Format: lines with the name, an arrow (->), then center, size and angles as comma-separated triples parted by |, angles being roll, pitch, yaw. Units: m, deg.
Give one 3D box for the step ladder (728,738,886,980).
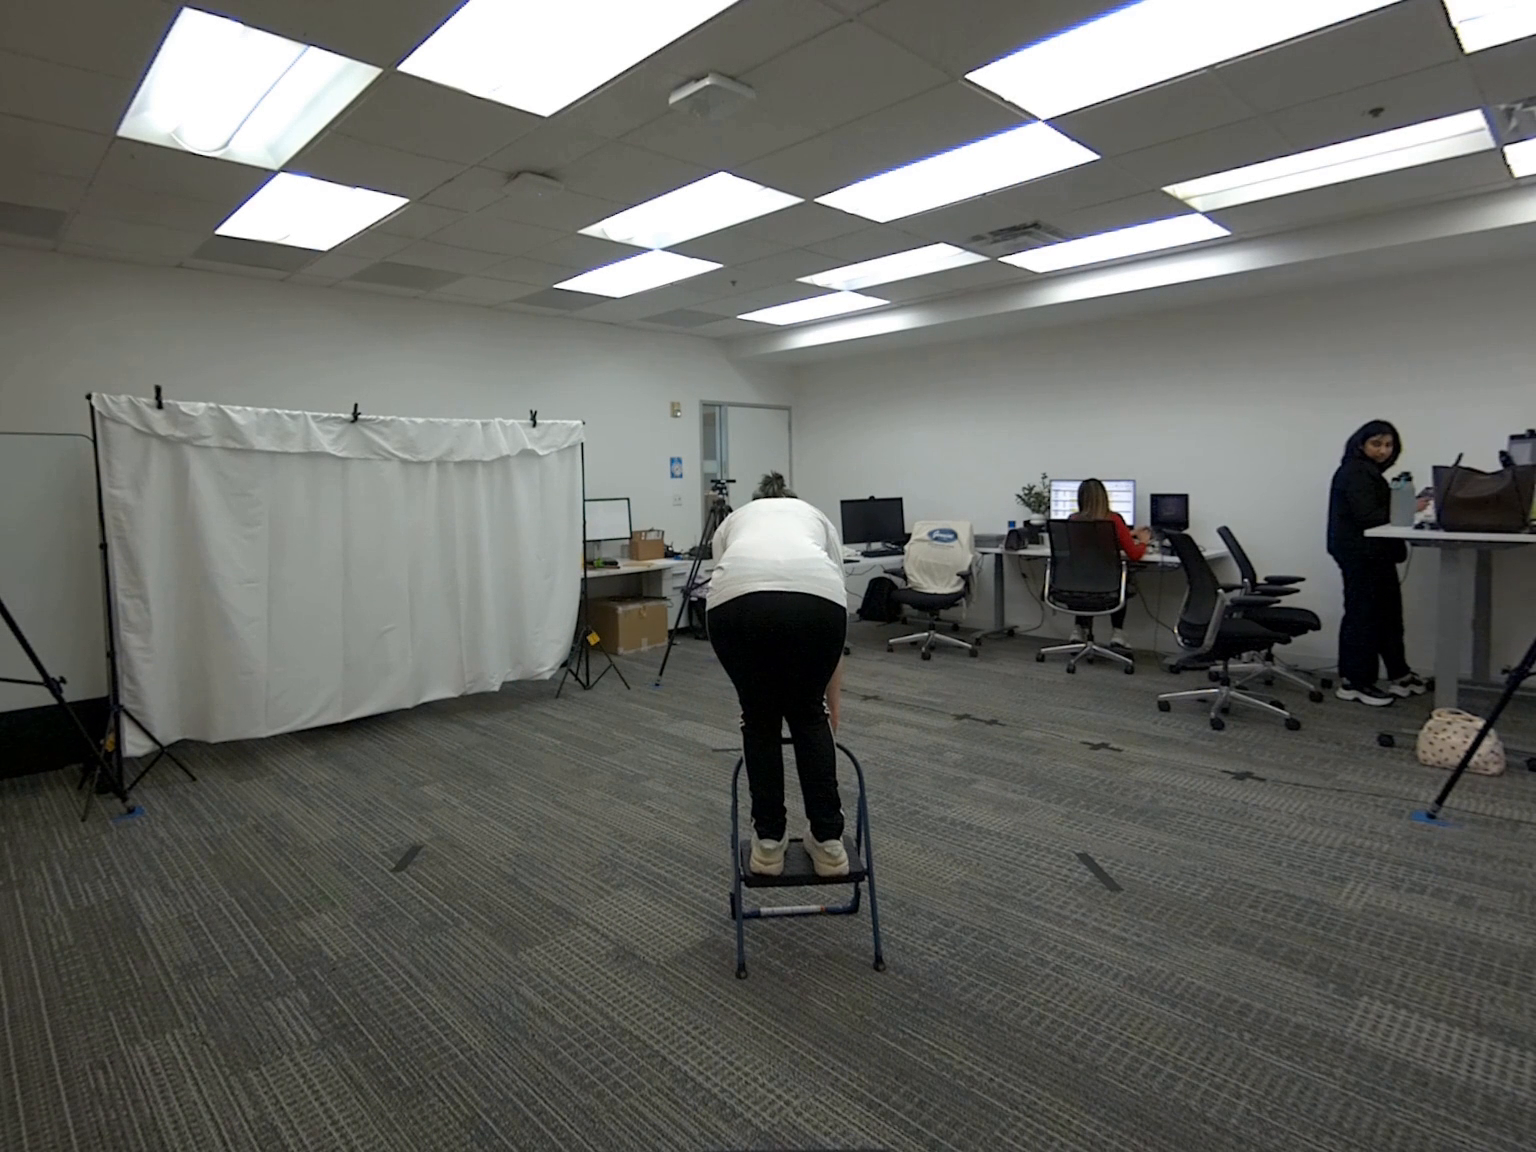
step ladder -> 0.103, 0.812, 2.563 | 0.429, 0.603, 0.352 | -2, 5, -5
